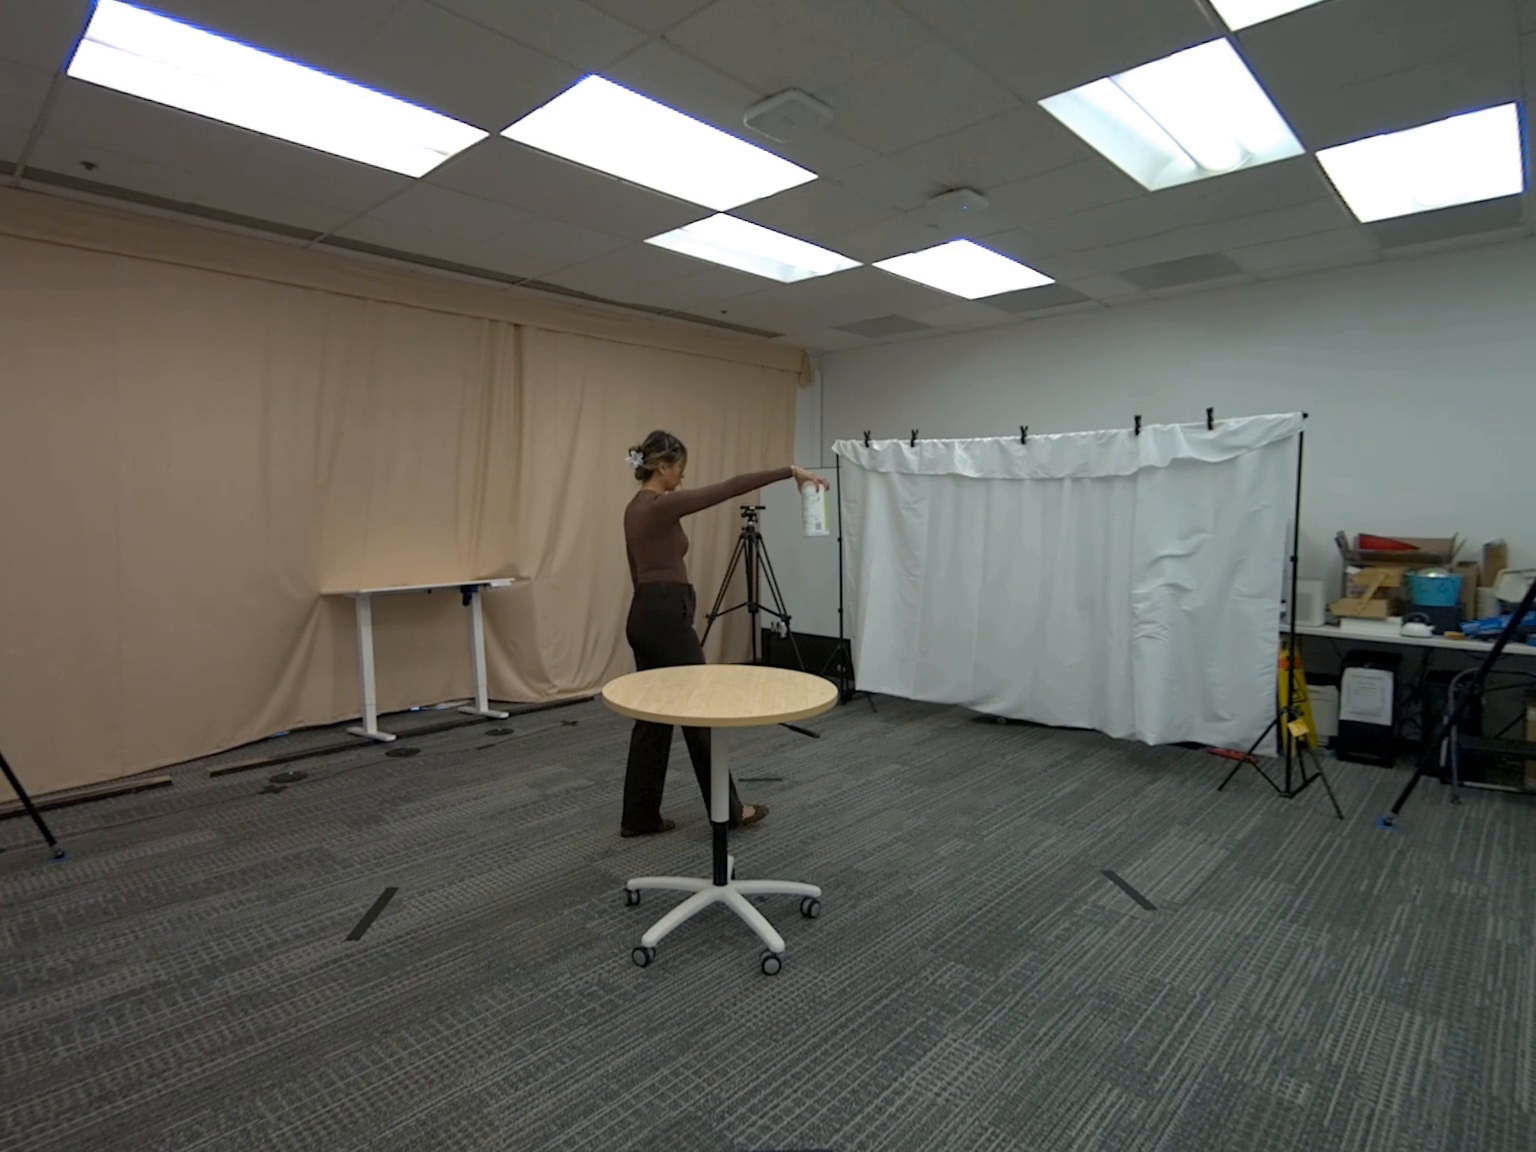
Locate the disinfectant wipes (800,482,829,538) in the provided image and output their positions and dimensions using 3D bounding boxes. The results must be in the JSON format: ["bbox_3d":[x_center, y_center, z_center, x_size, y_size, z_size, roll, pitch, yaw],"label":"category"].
[{"bbox_3d":[0.205,-0.272,3.516,0.118,0.217,0.118,-2,3,-2],"label":"disinfectant wipes"}]
